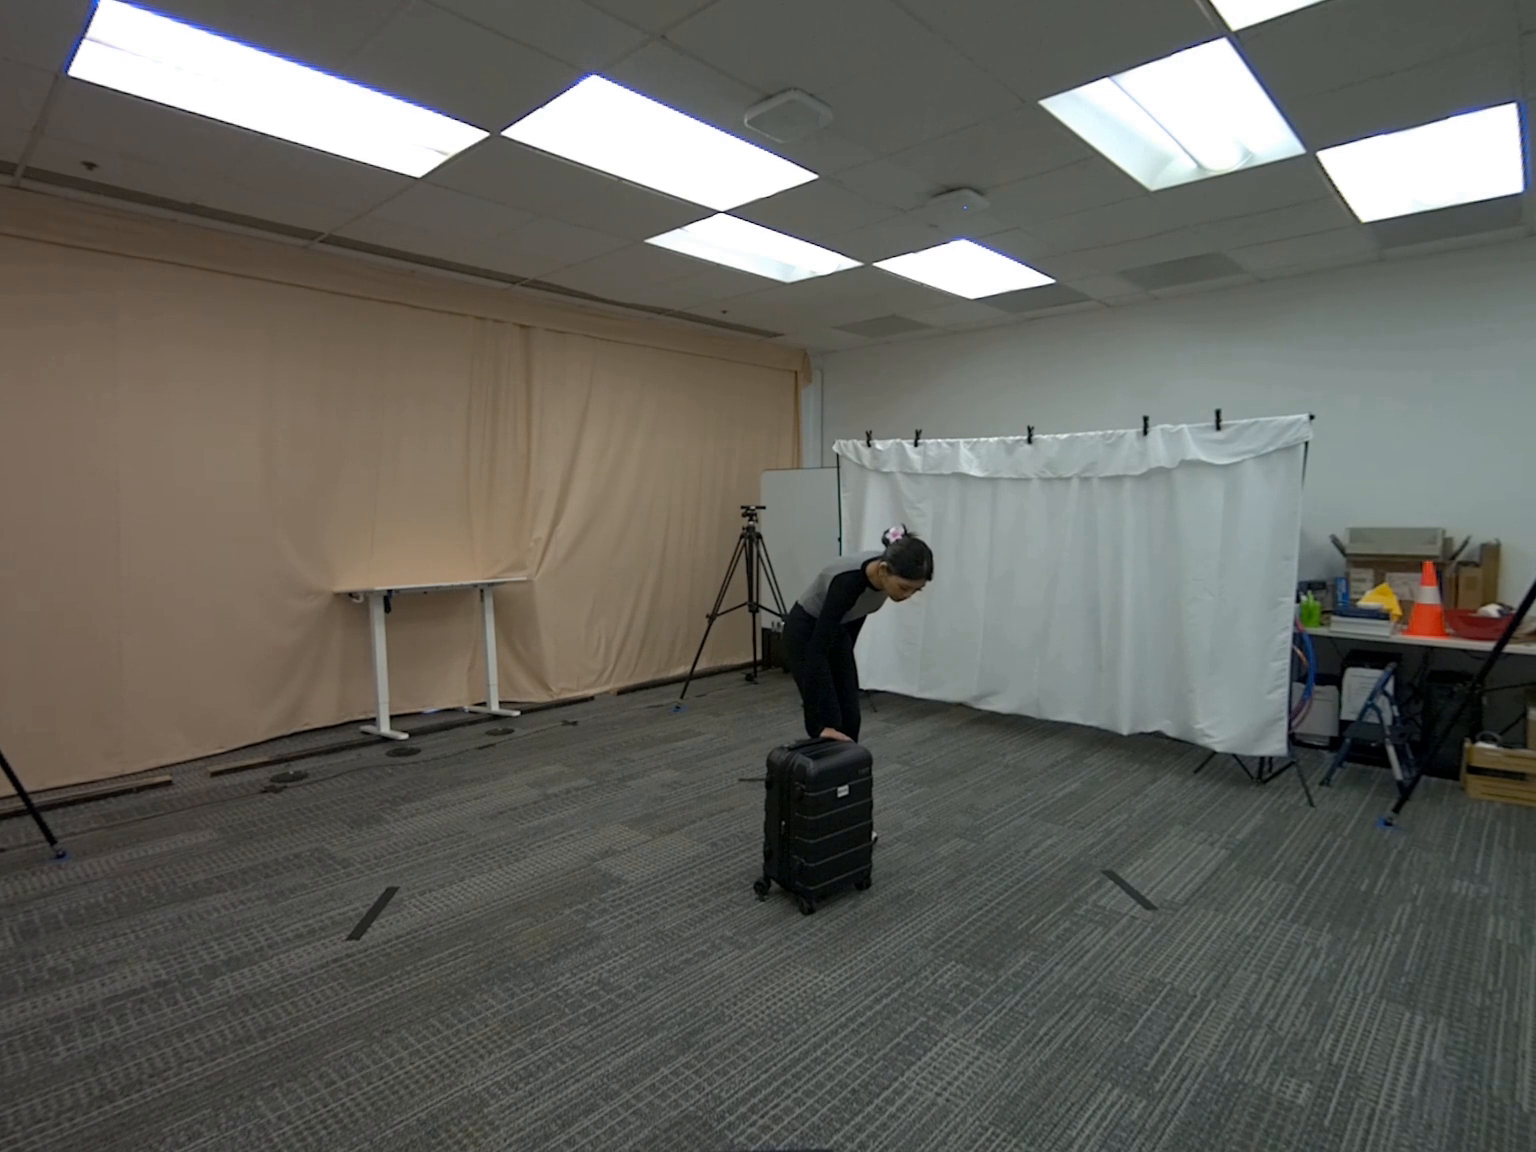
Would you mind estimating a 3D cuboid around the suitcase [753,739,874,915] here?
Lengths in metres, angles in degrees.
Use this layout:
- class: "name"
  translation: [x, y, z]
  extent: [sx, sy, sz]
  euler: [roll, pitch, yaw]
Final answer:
- class: "suitcase"
  translation: [0.182, 0.866, 3.011]
  extent: [0.364, 0.548, 0.257]
  euler: [-1, 6, -39]
